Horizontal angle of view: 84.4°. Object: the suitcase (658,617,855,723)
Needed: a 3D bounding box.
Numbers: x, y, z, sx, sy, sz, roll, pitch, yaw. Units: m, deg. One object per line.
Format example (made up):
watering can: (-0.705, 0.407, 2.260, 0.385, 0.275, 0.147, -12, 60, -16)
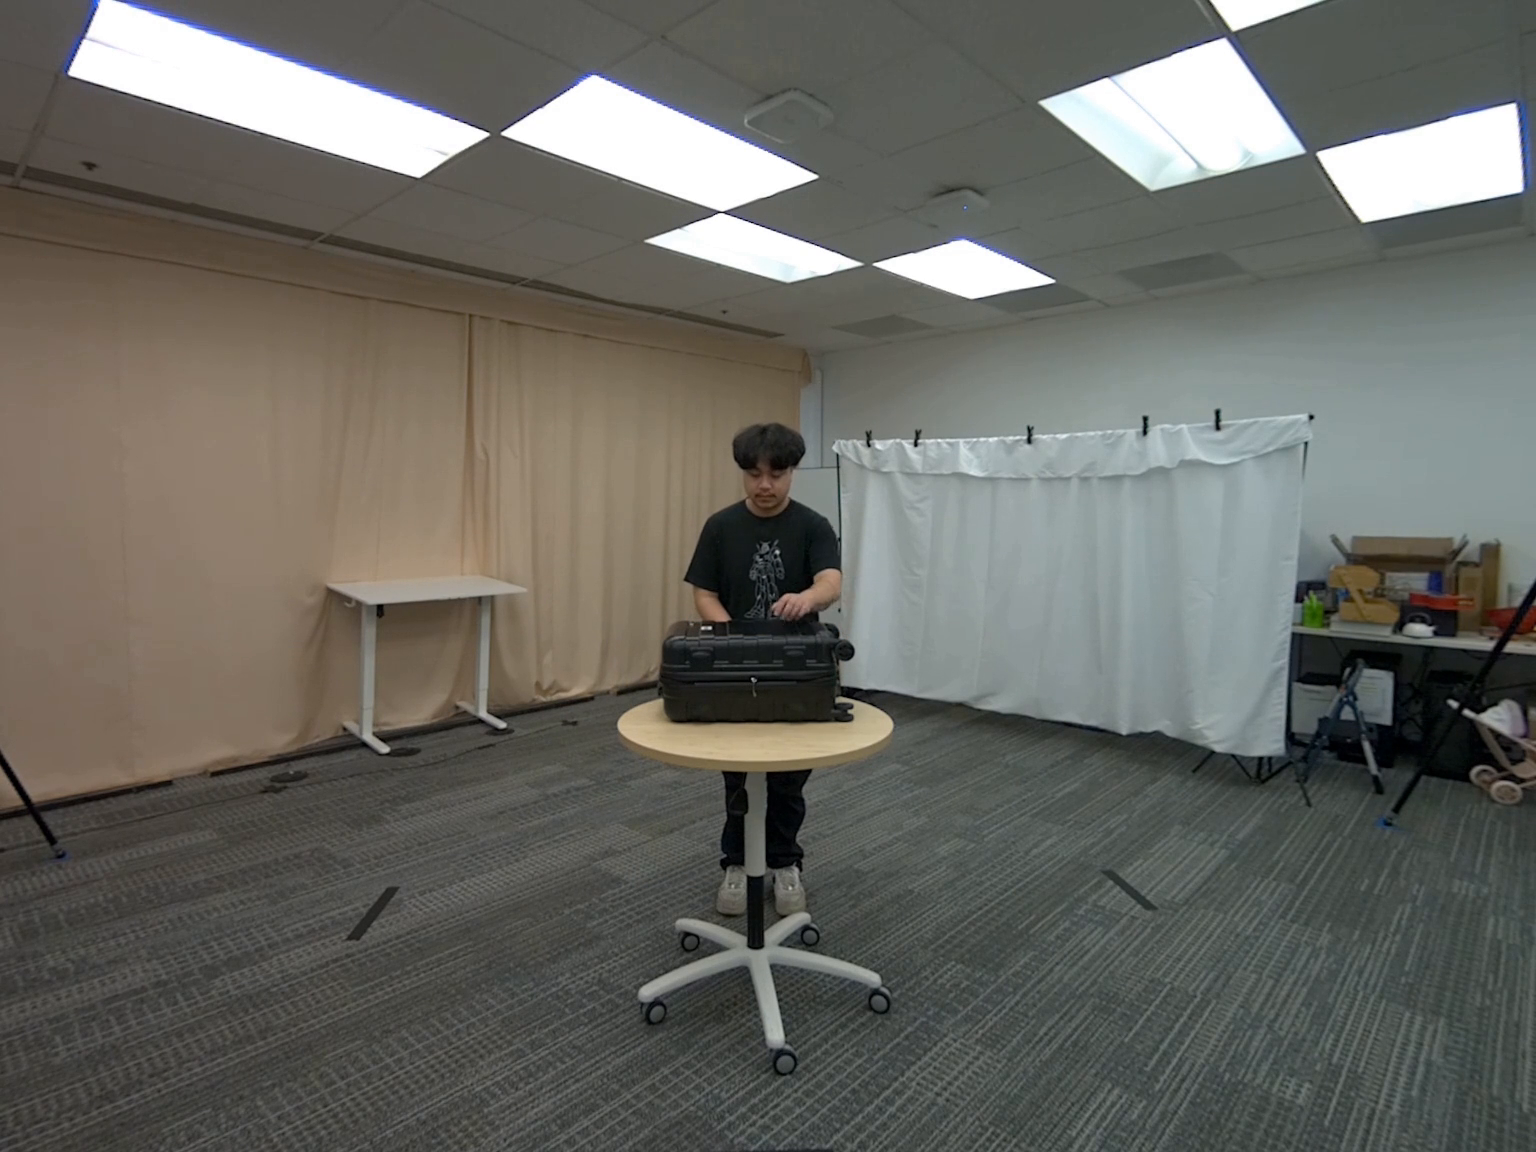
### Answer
suitcase: (-0.041, 0.278, 2.461, 0.550, 0.247, 0.377, -1, 6, 0)
